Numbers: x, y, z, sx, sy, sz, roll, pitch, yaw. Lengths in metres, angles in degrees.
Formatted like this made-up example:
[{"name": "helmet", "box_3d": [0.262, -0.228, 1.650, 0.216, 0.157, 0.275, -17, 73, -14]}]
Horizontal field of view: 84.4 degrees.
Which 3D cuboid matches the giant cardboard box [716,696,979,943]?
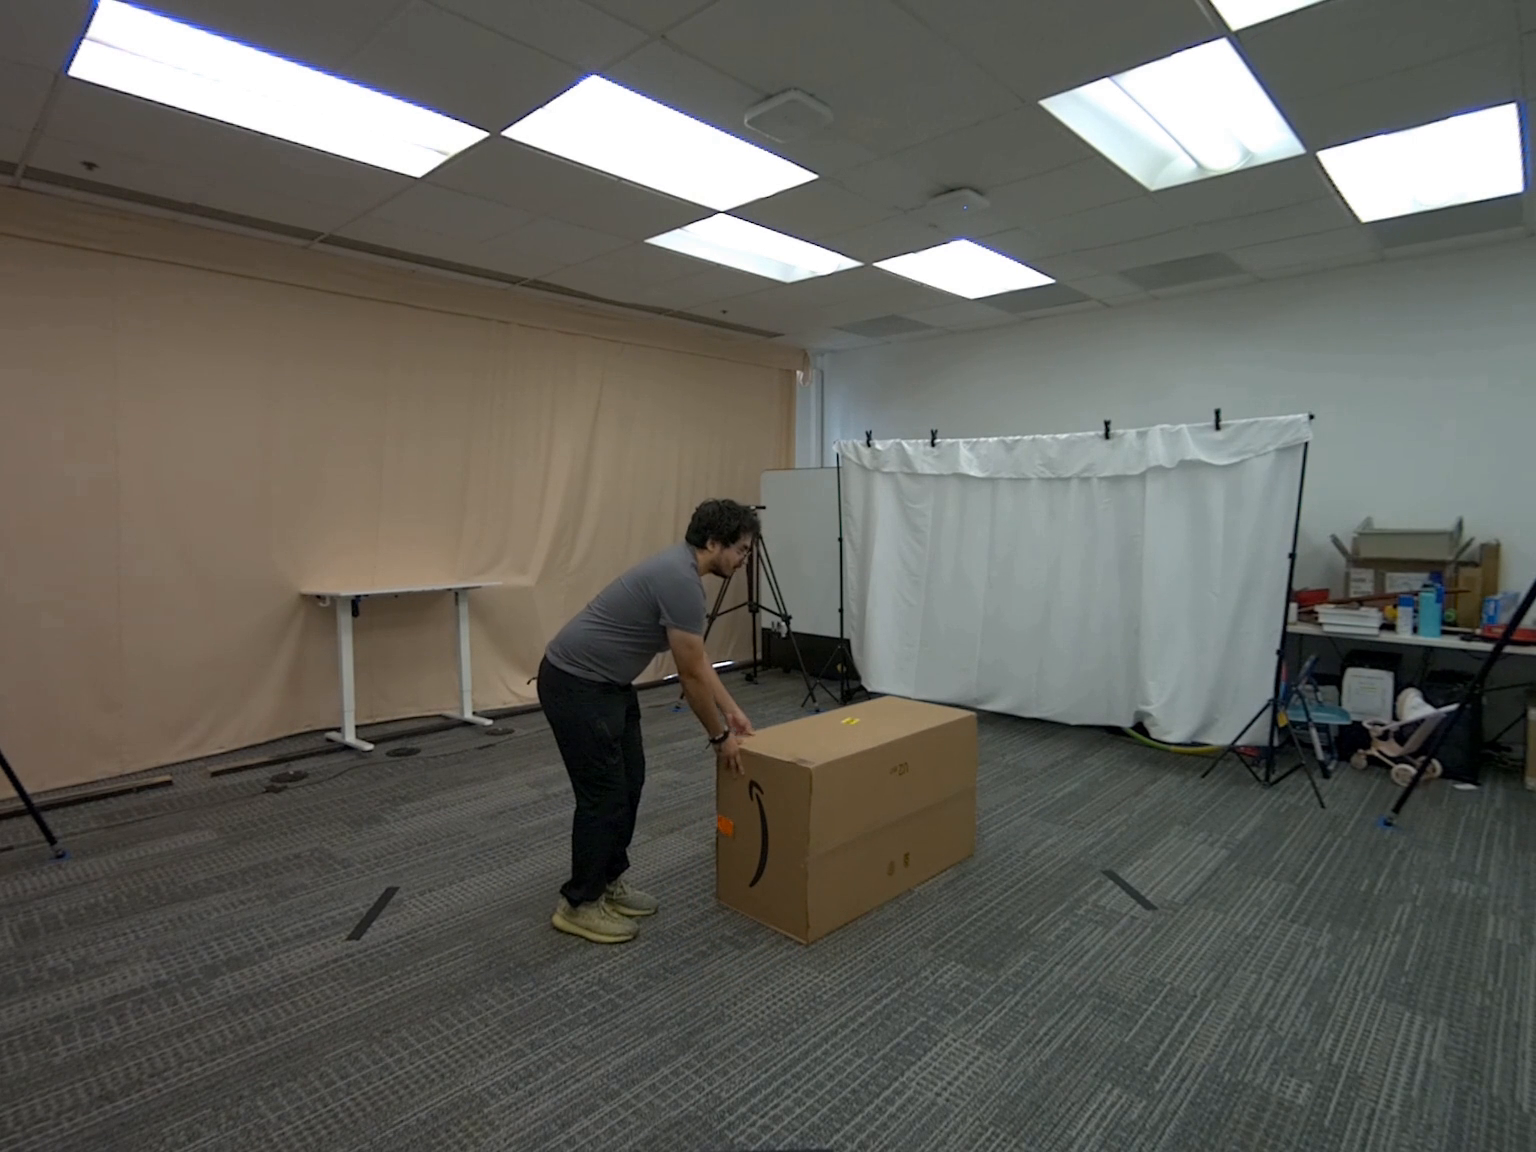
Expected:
[{"name": "giant cardboard box", "box_3d": [0.328, 0.845, 3.149, 0.440, 0.576, 0.994, 4, 6, 45]}]
